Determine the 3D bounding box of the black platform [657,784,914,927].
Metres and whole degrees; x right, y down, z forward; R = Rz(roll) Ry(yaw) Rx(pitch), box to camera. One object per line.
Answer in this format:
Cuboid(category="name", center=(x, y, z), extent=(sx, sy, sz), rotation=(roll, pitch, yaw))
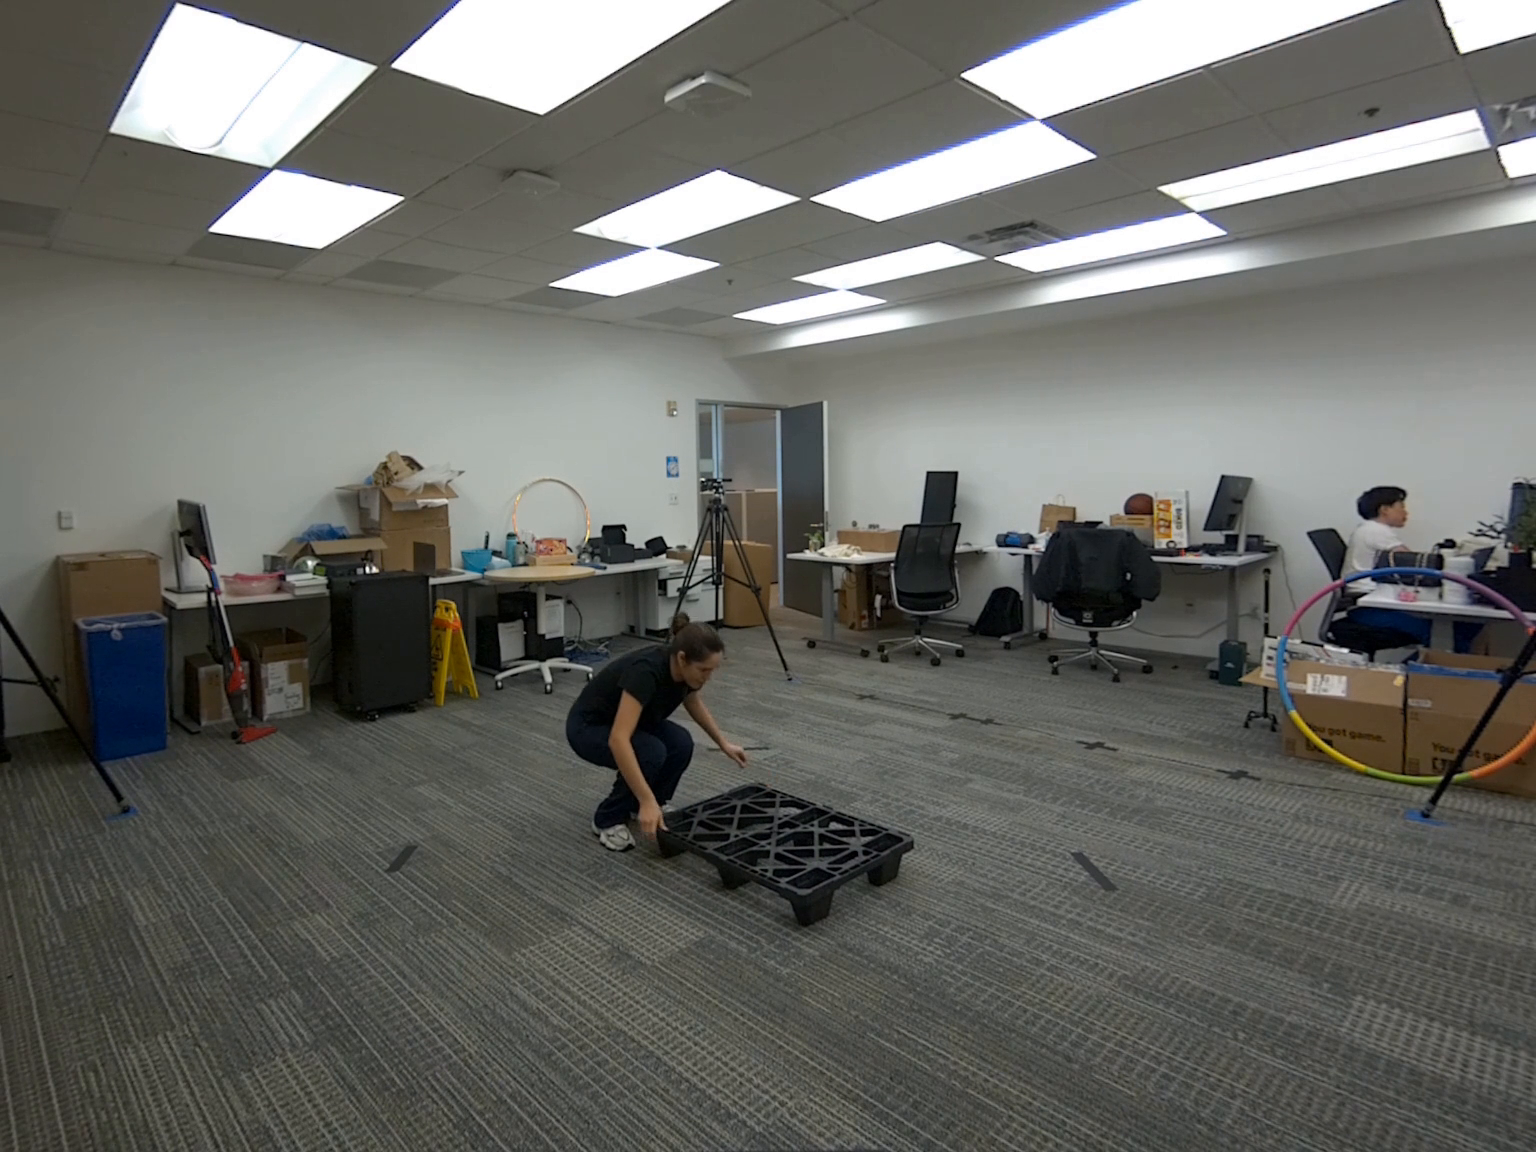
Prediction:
Cuboid(category="black platform", center=(0.027, 0.983, 3.081), extent=(0.589, 0.143, 0.830), rotation=(-7, 8, -44))
